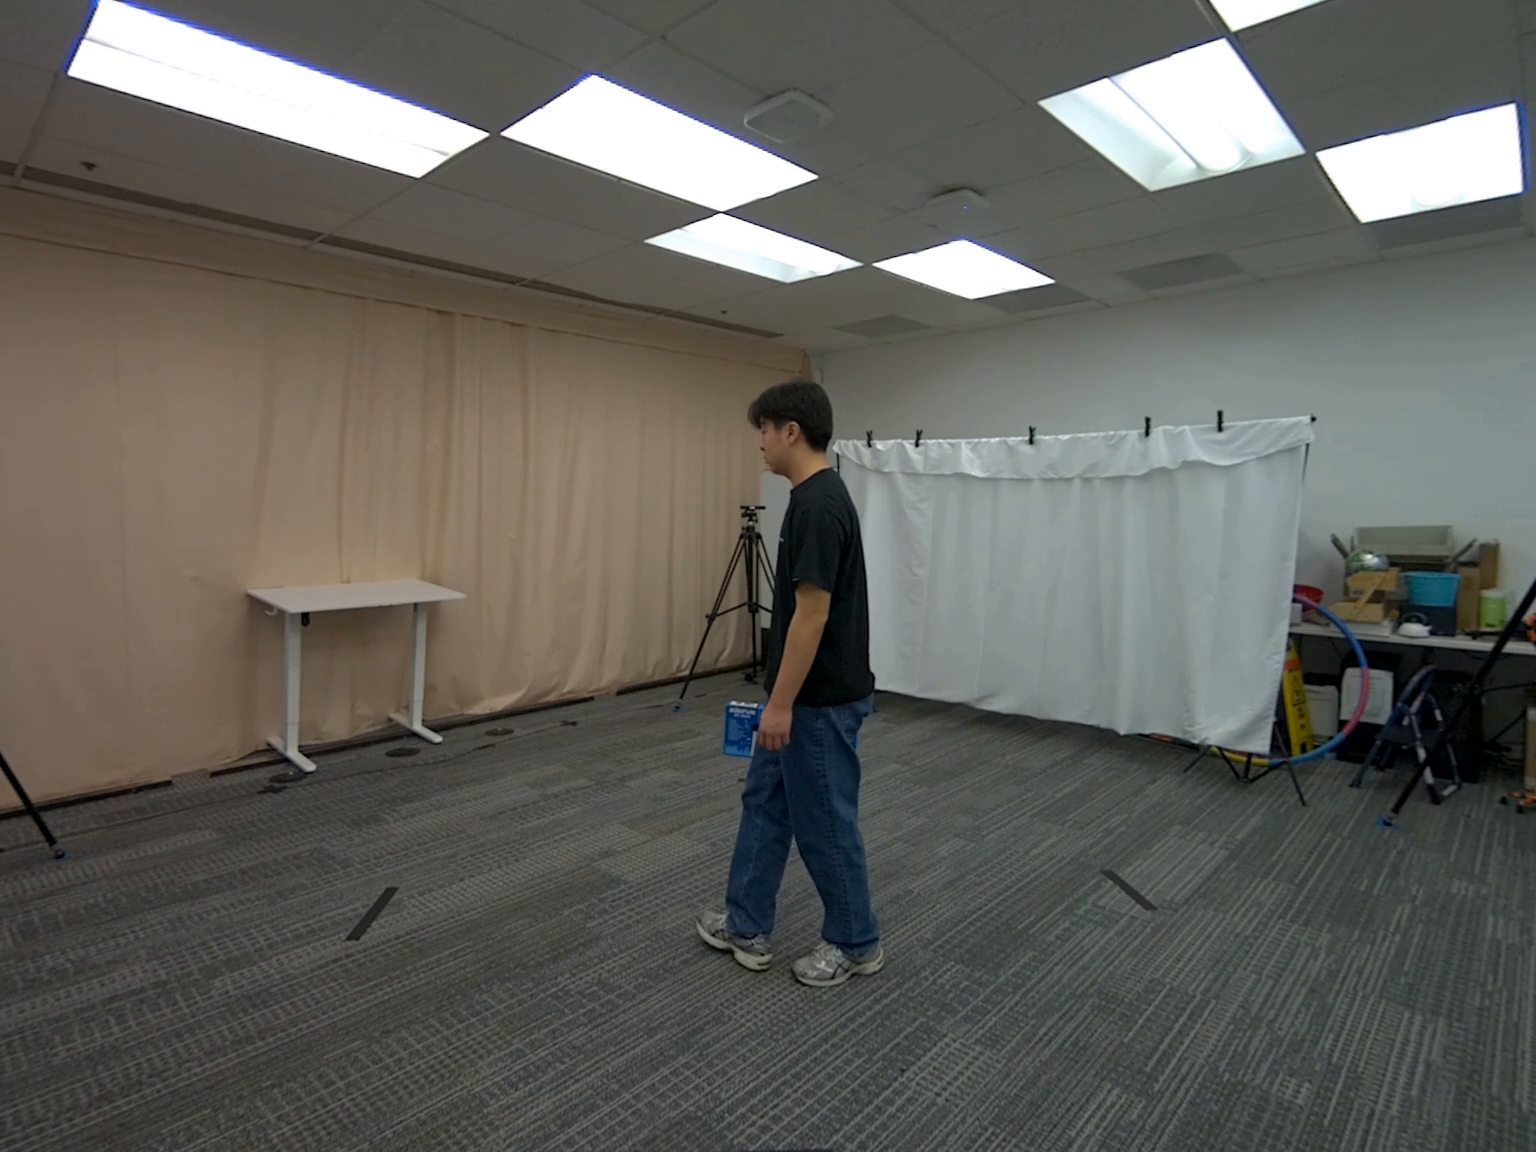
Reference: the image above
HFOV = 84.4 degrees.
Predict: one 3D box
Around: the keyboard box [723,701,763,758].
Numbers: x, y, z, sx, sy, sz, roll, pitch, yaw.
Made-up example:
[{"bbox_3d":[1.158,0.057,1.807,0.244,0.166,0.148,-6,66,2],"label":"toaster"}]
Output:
[{"bbox_3d":[0.076,0.526,2.788,0.443,0.175,0.058,4,4,13],"label":"keyboard box"}]
